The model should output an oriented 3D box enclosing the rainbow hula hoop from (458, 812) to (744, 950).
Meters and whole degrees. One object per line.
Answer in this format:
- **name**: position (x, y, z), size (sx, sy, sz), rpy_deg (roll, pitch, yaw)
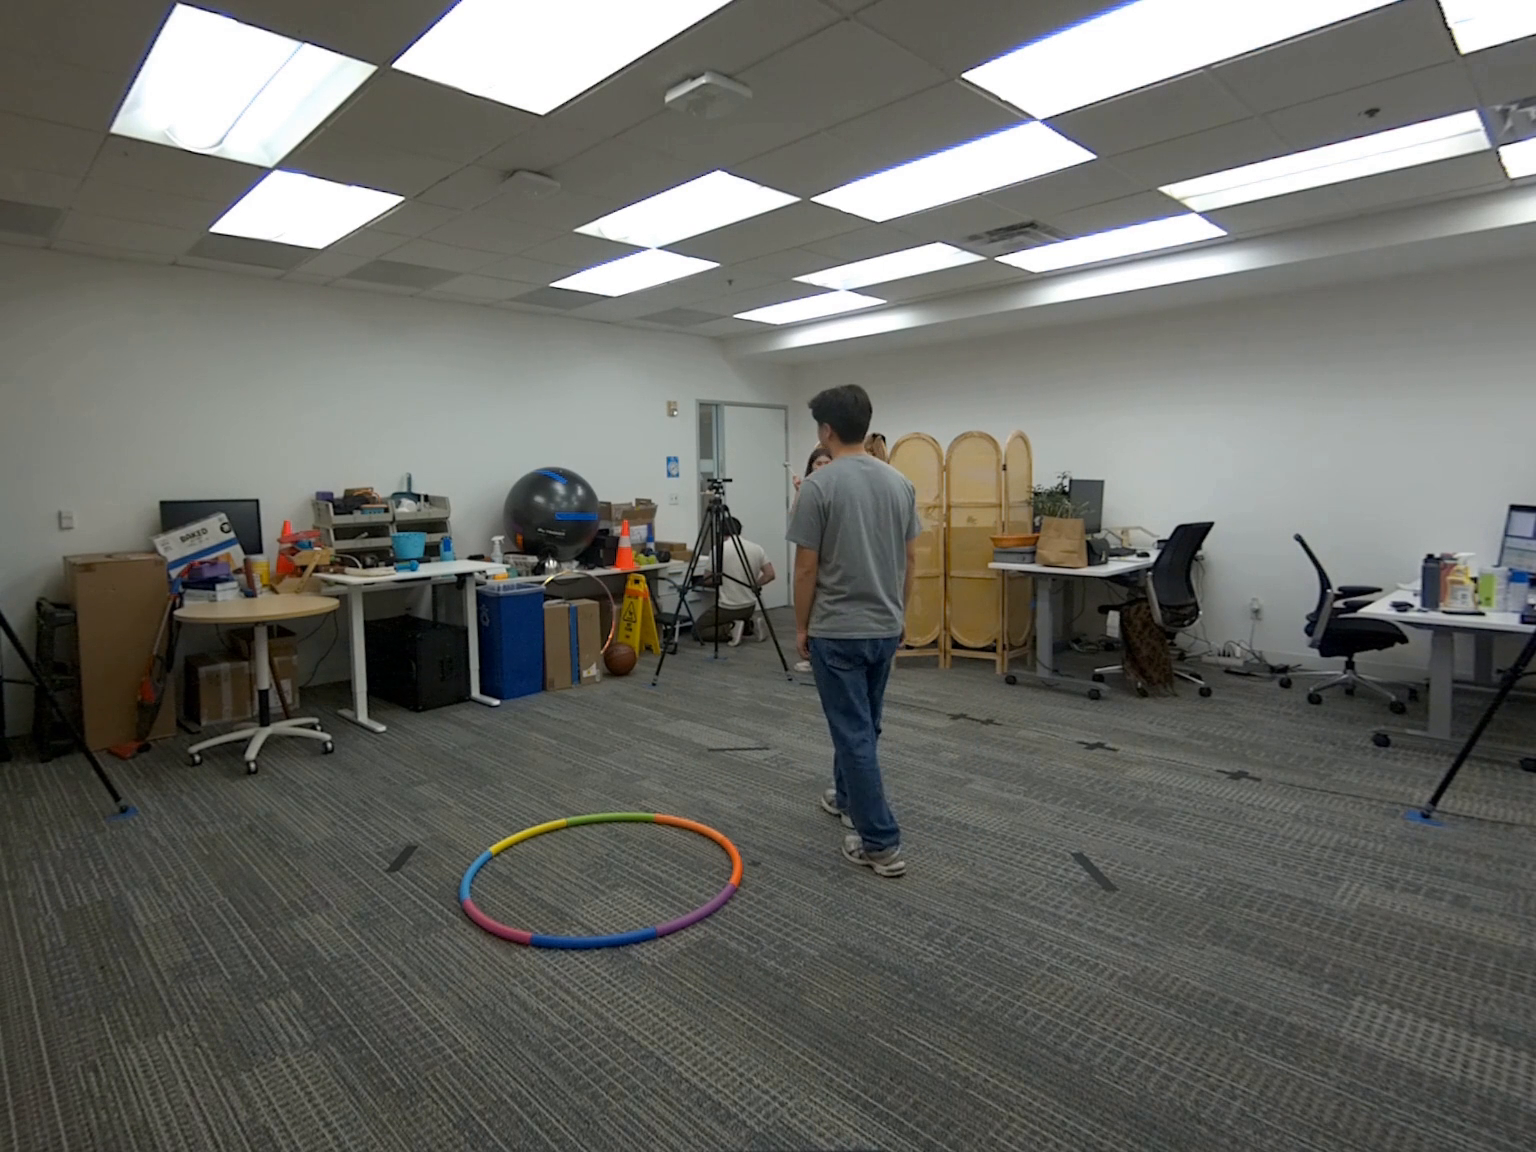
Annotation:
- **rainbow hula hoop**: position (-0.582, 1.034, 3.041), size (0.978, 0.035, 0.984), rpy_deg (-1, 7, -2)
